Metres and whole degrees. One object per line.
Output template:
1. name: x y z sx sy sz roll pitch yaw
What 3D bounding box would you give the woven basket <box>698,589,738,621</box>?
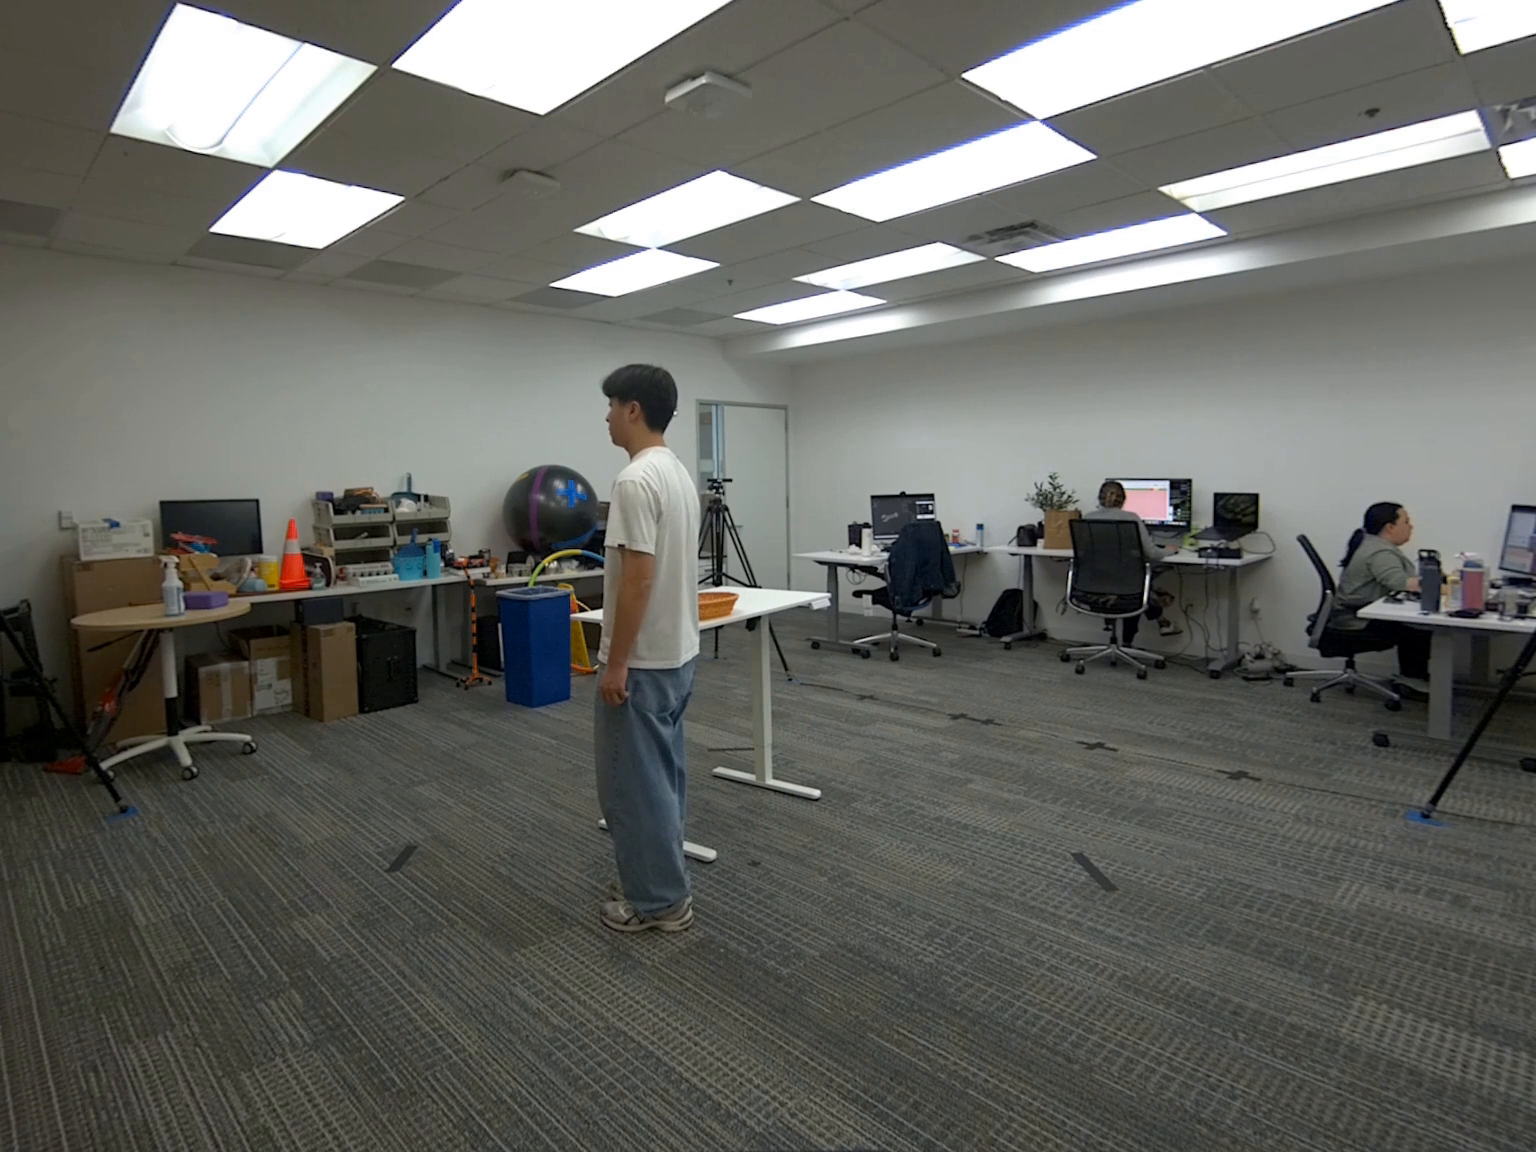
1. woven basket: -0.257 0.121 3.250 0.260 0.073 0.341 5 10 44
